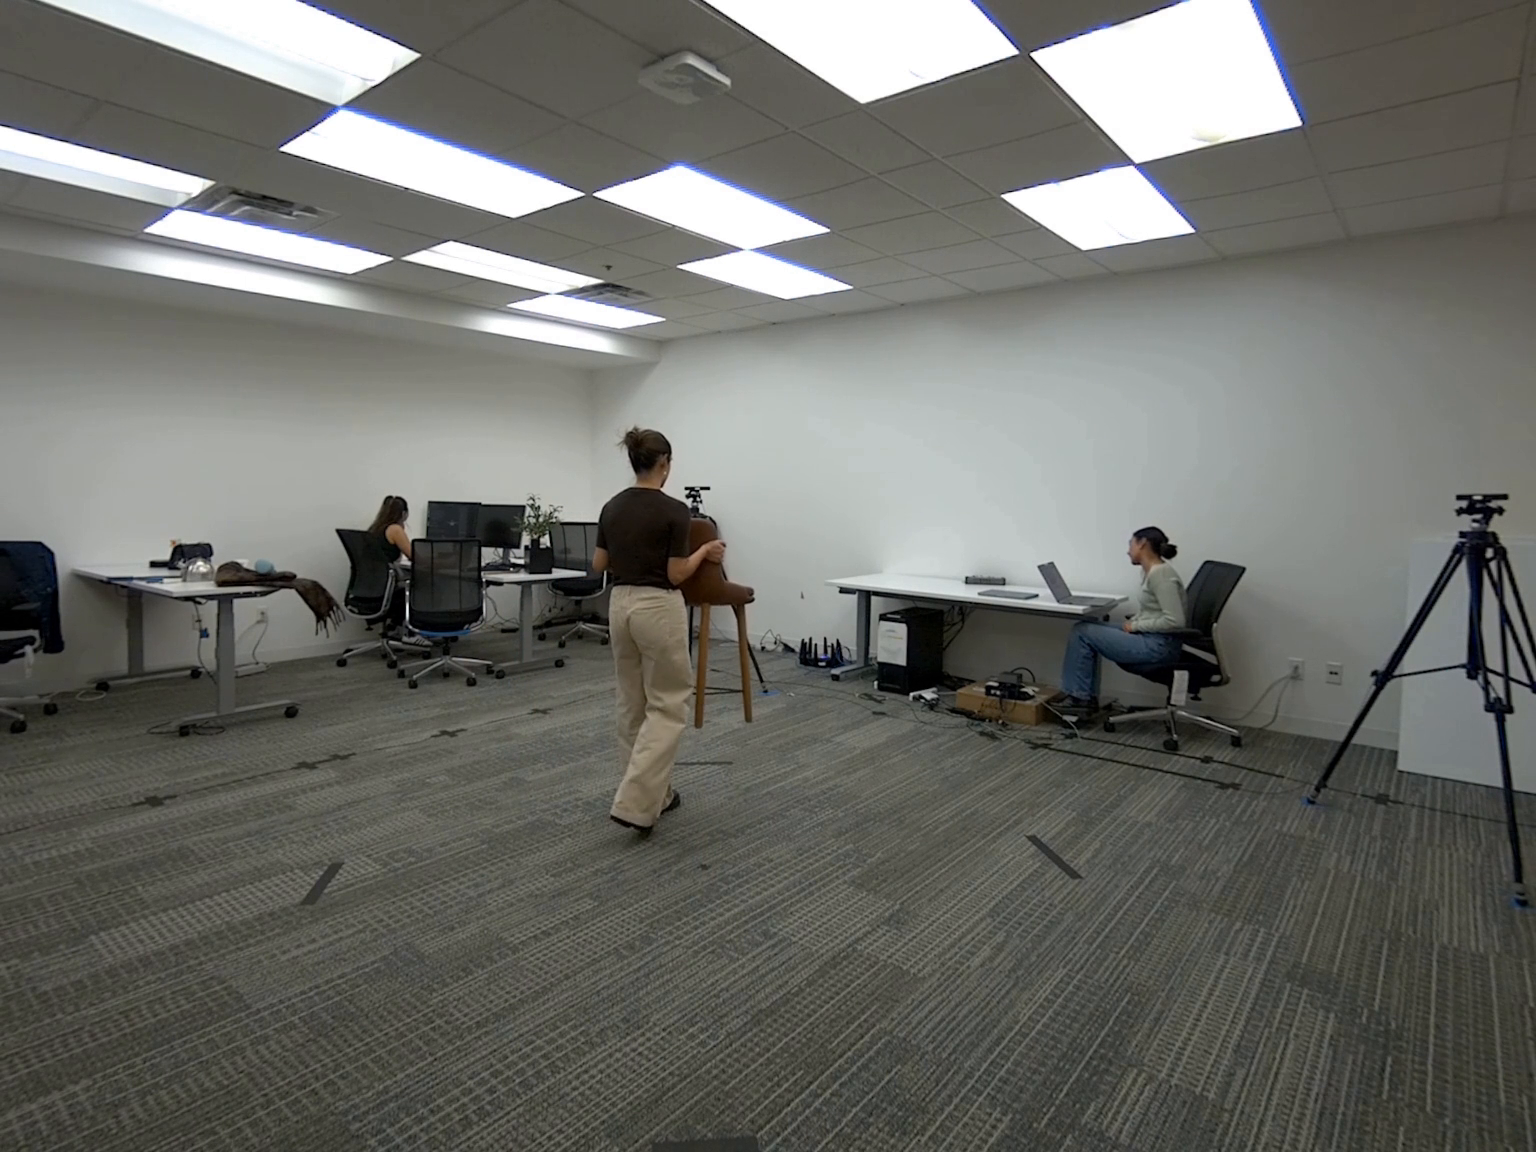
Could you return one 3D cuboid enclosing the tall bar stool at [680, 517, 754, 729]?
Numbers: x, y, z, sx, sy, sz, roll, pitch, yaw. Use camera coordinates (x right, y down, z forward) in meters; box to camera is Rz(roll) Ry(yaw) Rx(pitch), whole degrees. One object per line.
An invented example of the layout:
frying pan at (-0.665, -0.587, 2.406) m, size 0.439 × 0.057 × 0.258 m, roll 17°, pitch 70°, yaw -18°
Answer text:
tall bar stool at (-0.351, 0.212, 3.818) m, size 0.468 × 0.894 × 0.453 m, roll -2°, pitch -6°, yaw 28°
